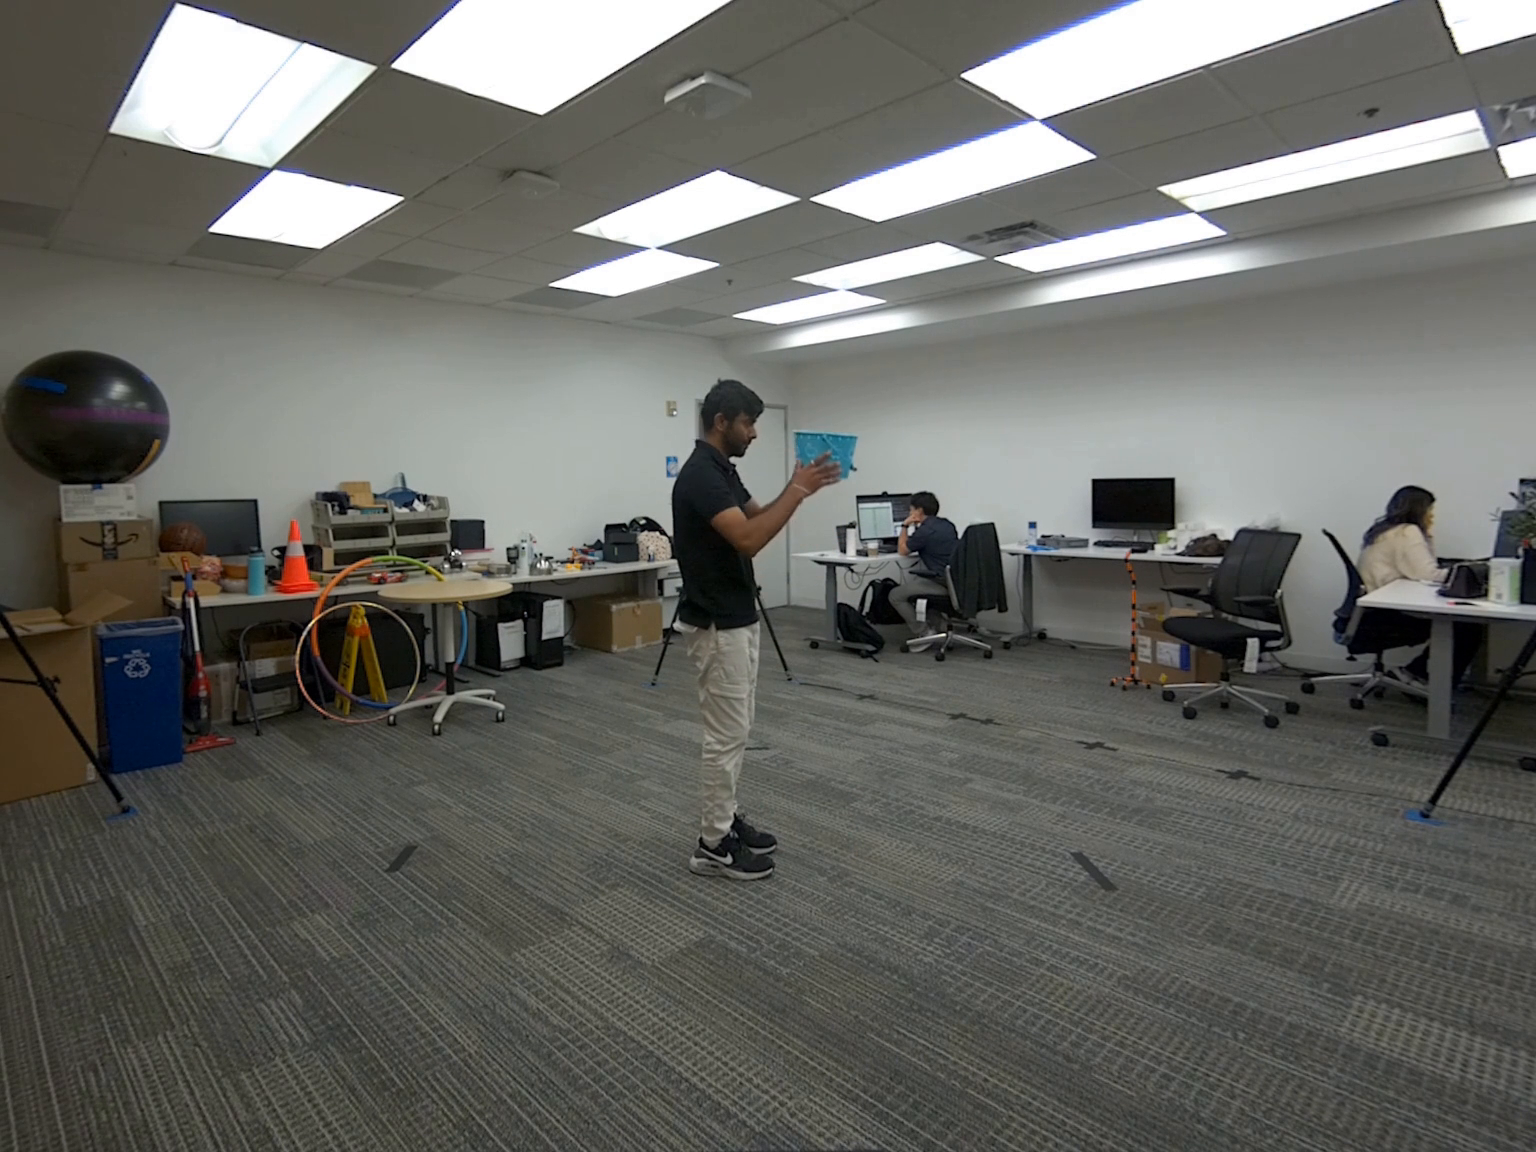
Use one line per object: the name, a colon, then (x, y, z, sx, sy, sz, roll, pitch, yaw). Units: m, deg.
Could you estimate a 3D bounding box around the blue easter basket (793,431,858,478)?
blue easter basket: (0.194, -0.420, 2.975, 0.243, 0.155, 0.246, 3, 9, -2)
